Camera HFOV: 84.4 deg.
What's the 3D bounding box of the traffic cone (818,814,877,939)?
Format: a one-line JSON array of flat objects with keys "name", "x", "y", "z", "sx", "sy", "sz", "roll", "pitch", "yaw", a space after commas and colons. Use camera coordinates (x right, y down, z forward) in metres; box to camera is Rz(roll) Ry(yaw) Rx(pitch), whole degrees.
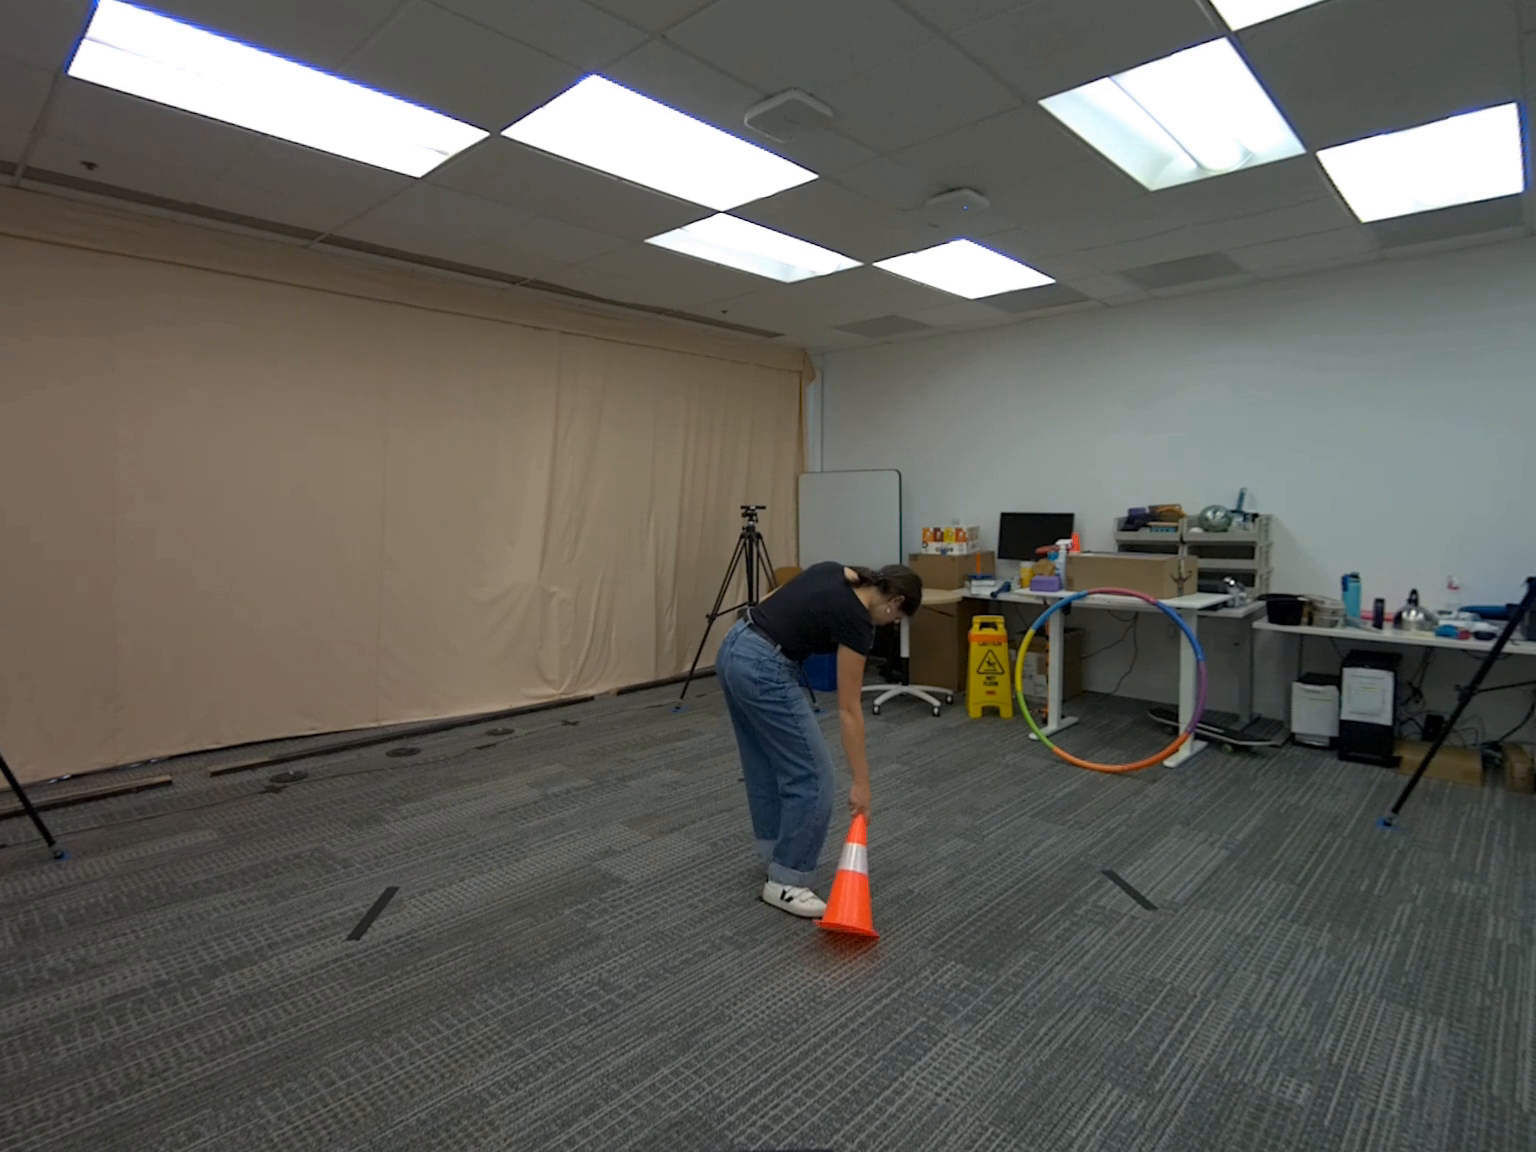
[{"name": "traffic cone", "x": 0.286, "y": 0.954, "z": 2.744, "sx": 0.207, "sy": 0.387, "sz": 0.199, "roll": 2, "pitch": -28, "yaw": 16}]
